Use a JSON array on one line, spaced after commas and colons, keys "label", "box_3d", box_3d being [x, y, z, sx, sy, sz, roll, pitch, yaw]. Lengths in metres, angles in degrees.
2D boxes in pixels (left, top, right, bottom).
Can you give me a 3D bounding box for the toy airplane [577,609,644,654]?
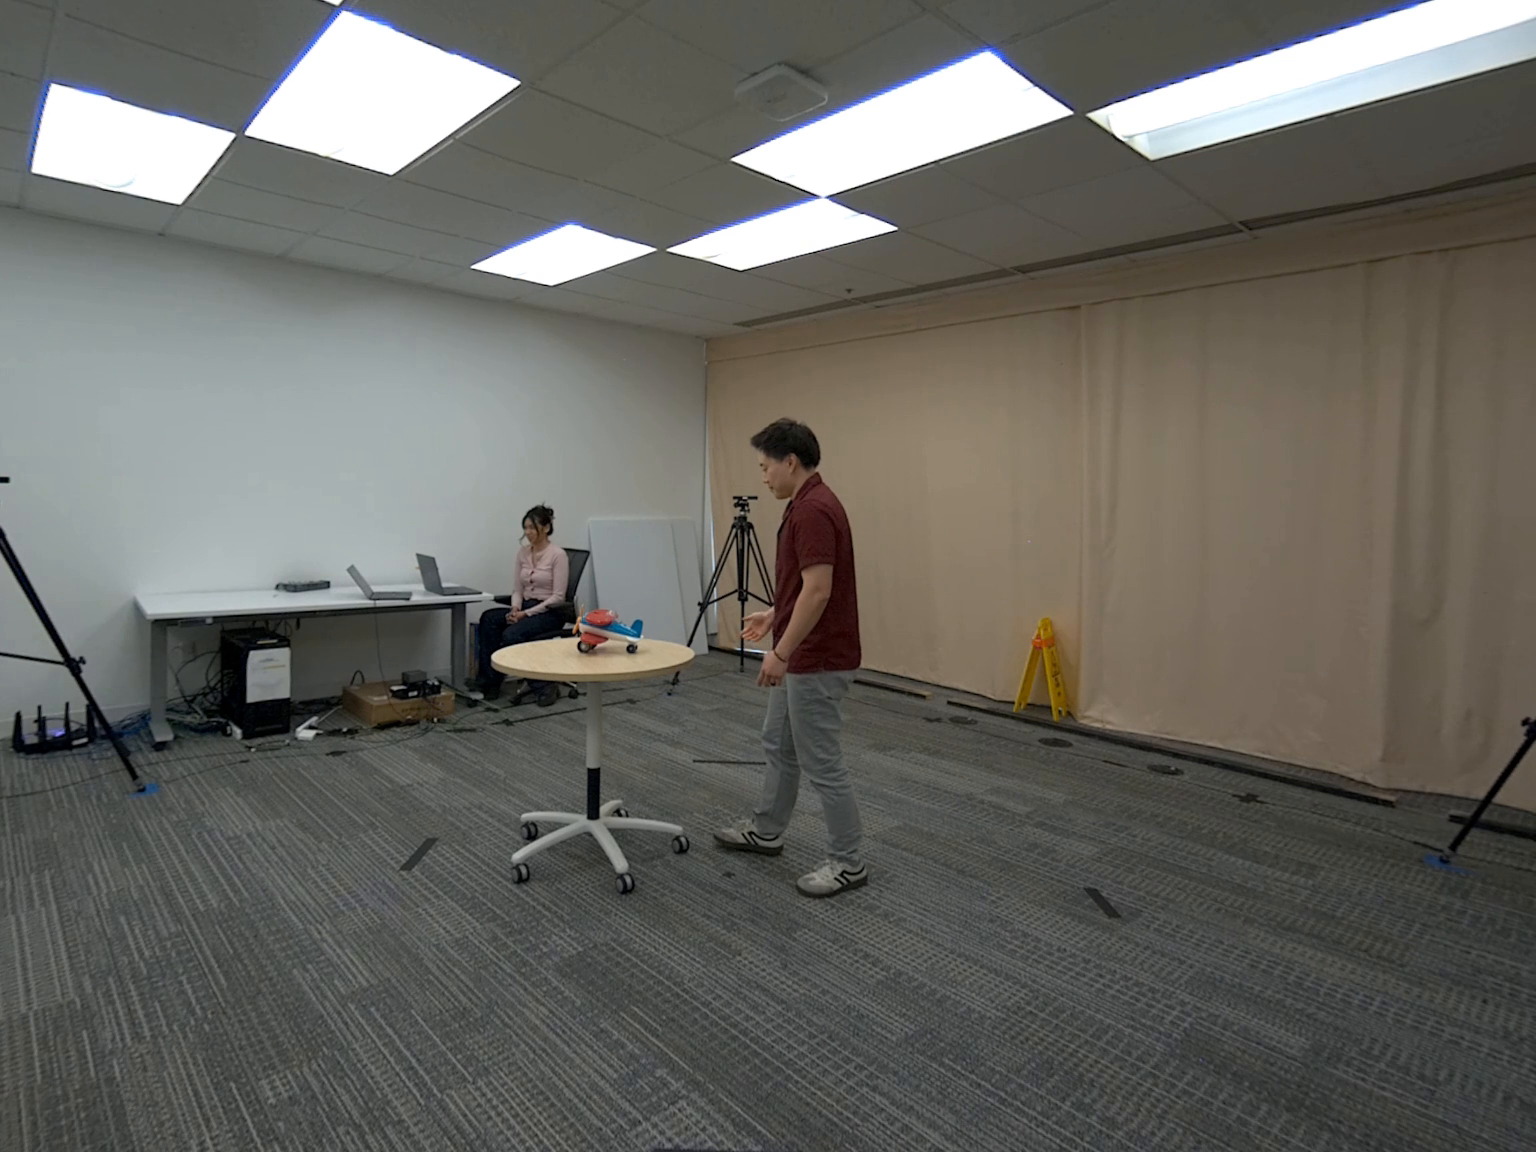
[{"label": "toy airplane", "box_3d": [-0.618, 0.213, 3.278, 0.254, 0.156, 0.256, -2, 6, -26]}]
